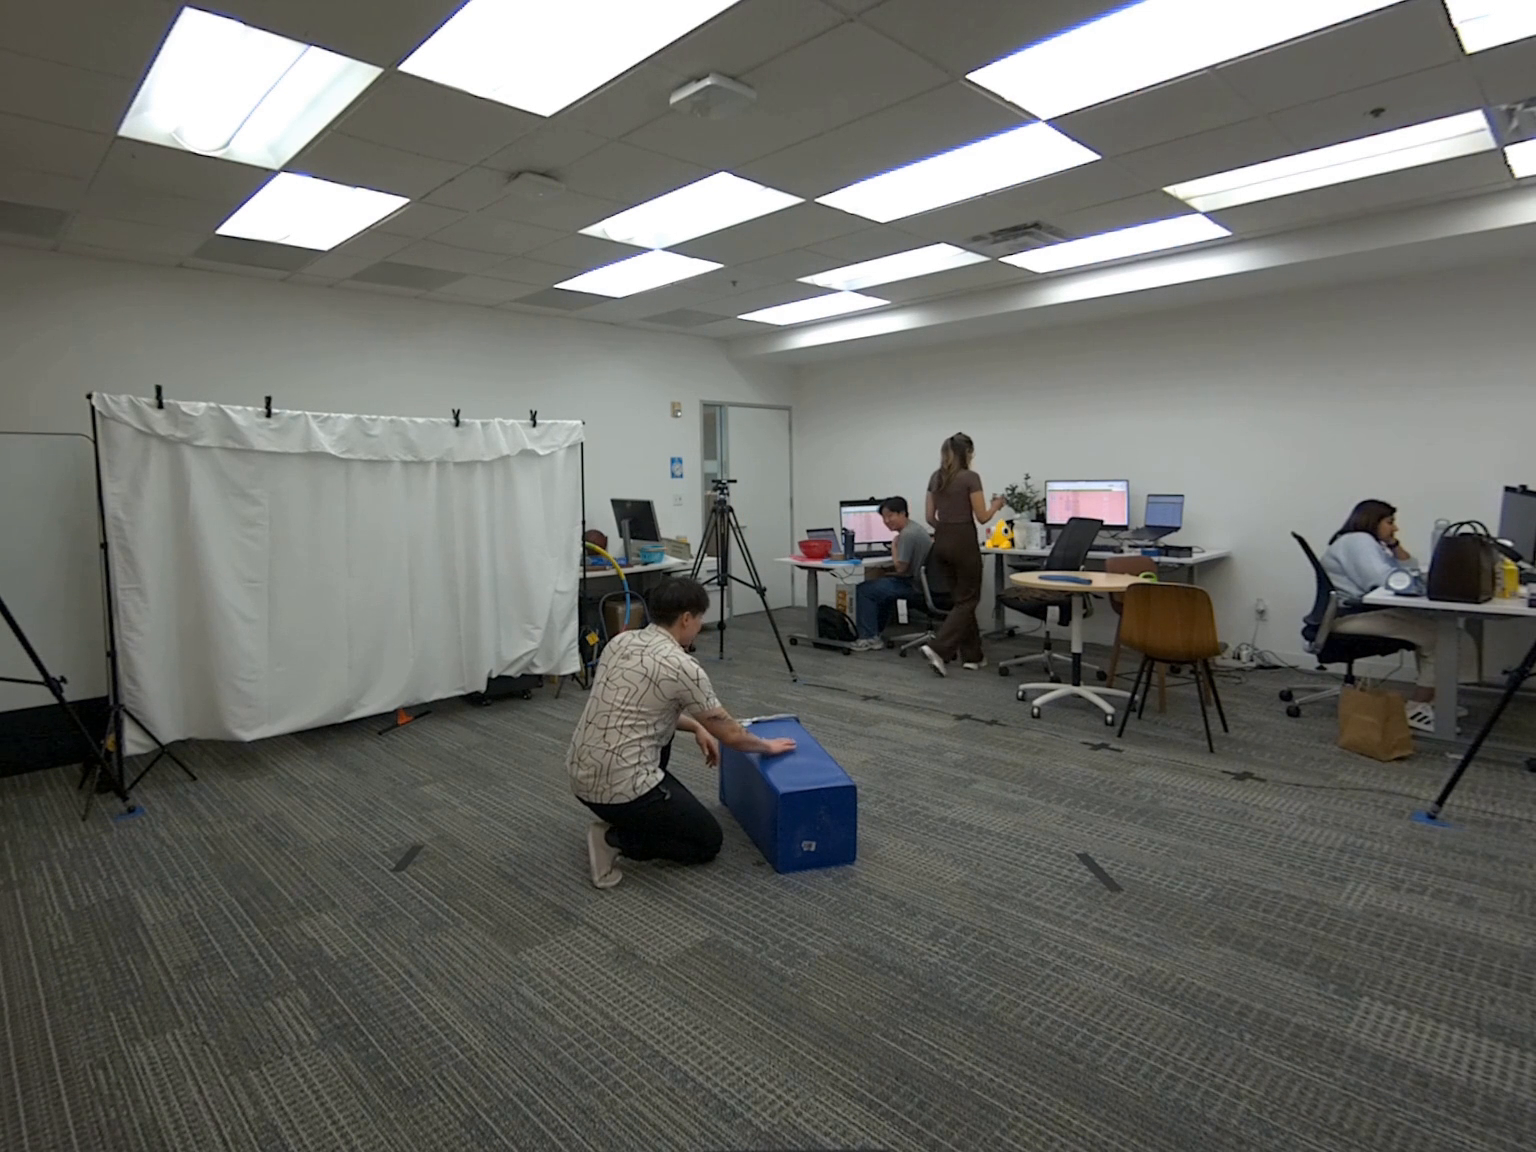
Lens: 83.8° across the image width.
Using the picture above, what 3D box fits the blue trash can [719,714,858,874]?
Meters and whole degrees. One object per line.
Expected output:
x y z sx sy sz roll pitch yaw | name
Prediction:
0.063 0.845 3.380 0.373 0.371 0.729 -3 9 -16 | blue trash can
